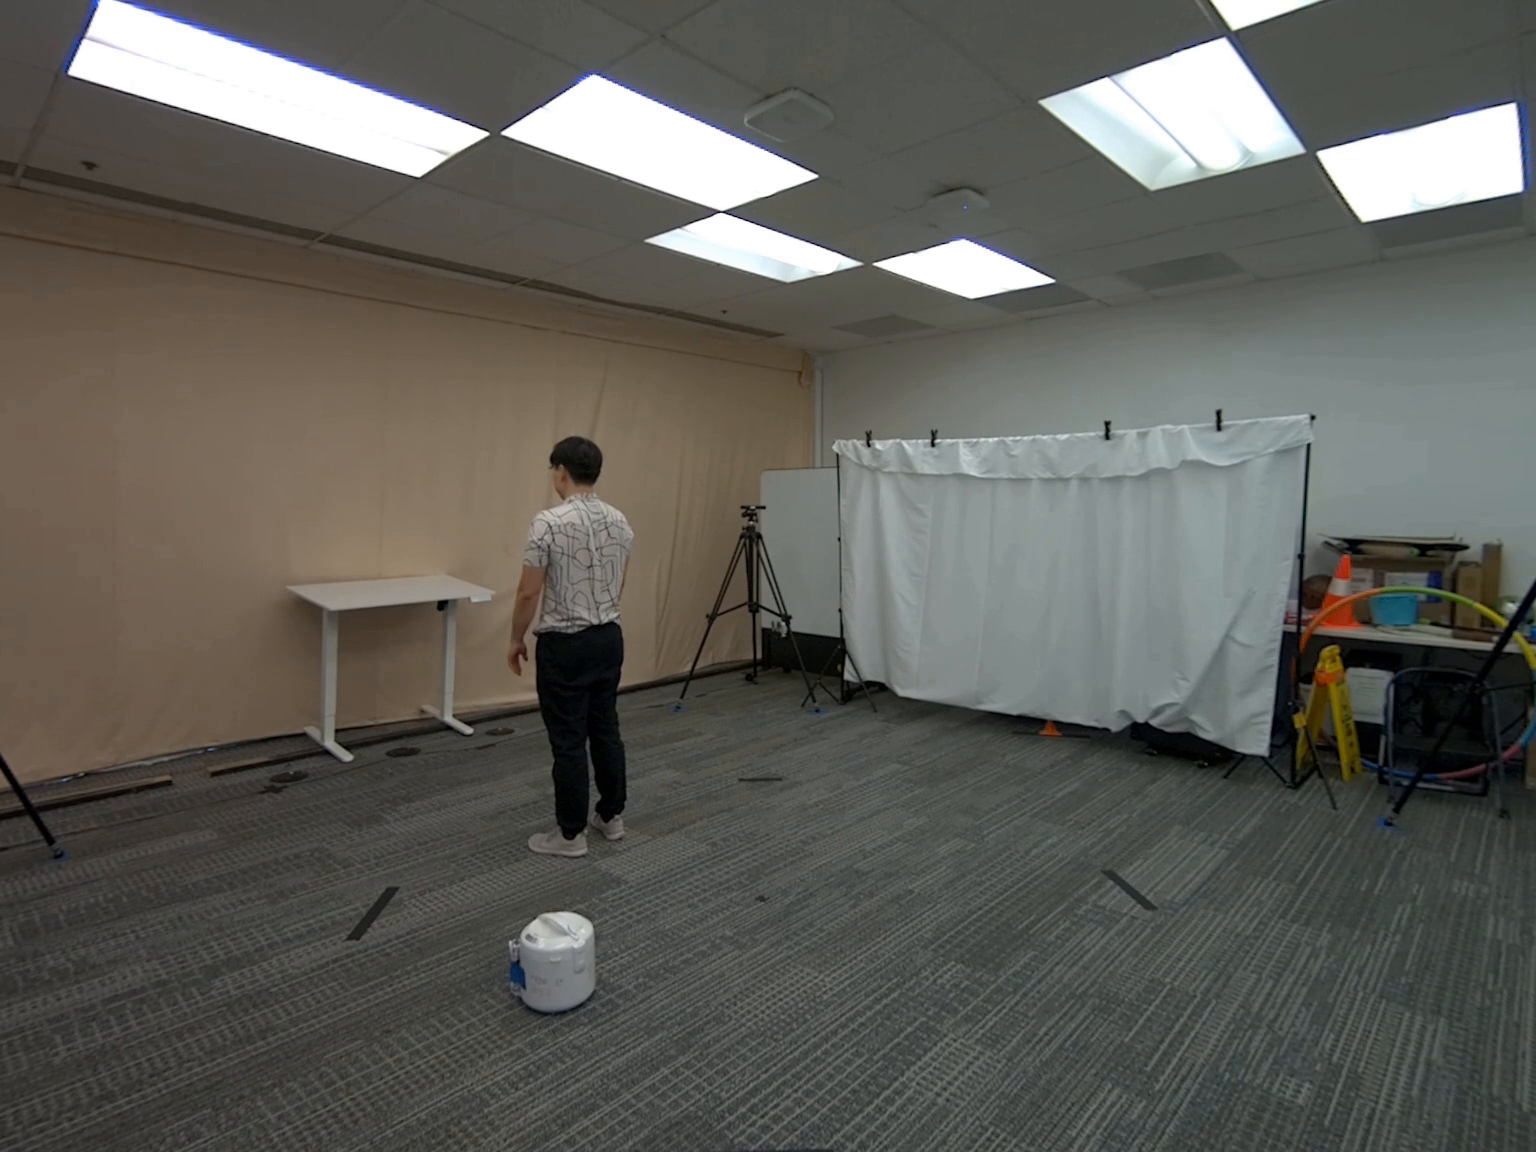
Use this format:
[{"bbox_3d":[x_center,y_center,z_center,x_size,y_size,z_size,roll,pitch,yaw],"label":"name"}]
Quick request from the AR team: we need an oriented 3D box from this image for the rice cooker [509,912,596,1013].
[{"bbox_3d":[-0.595,1.079,2.391,0.228,0.232,0.211,3,5,41],"label":"rice cooker"}]
